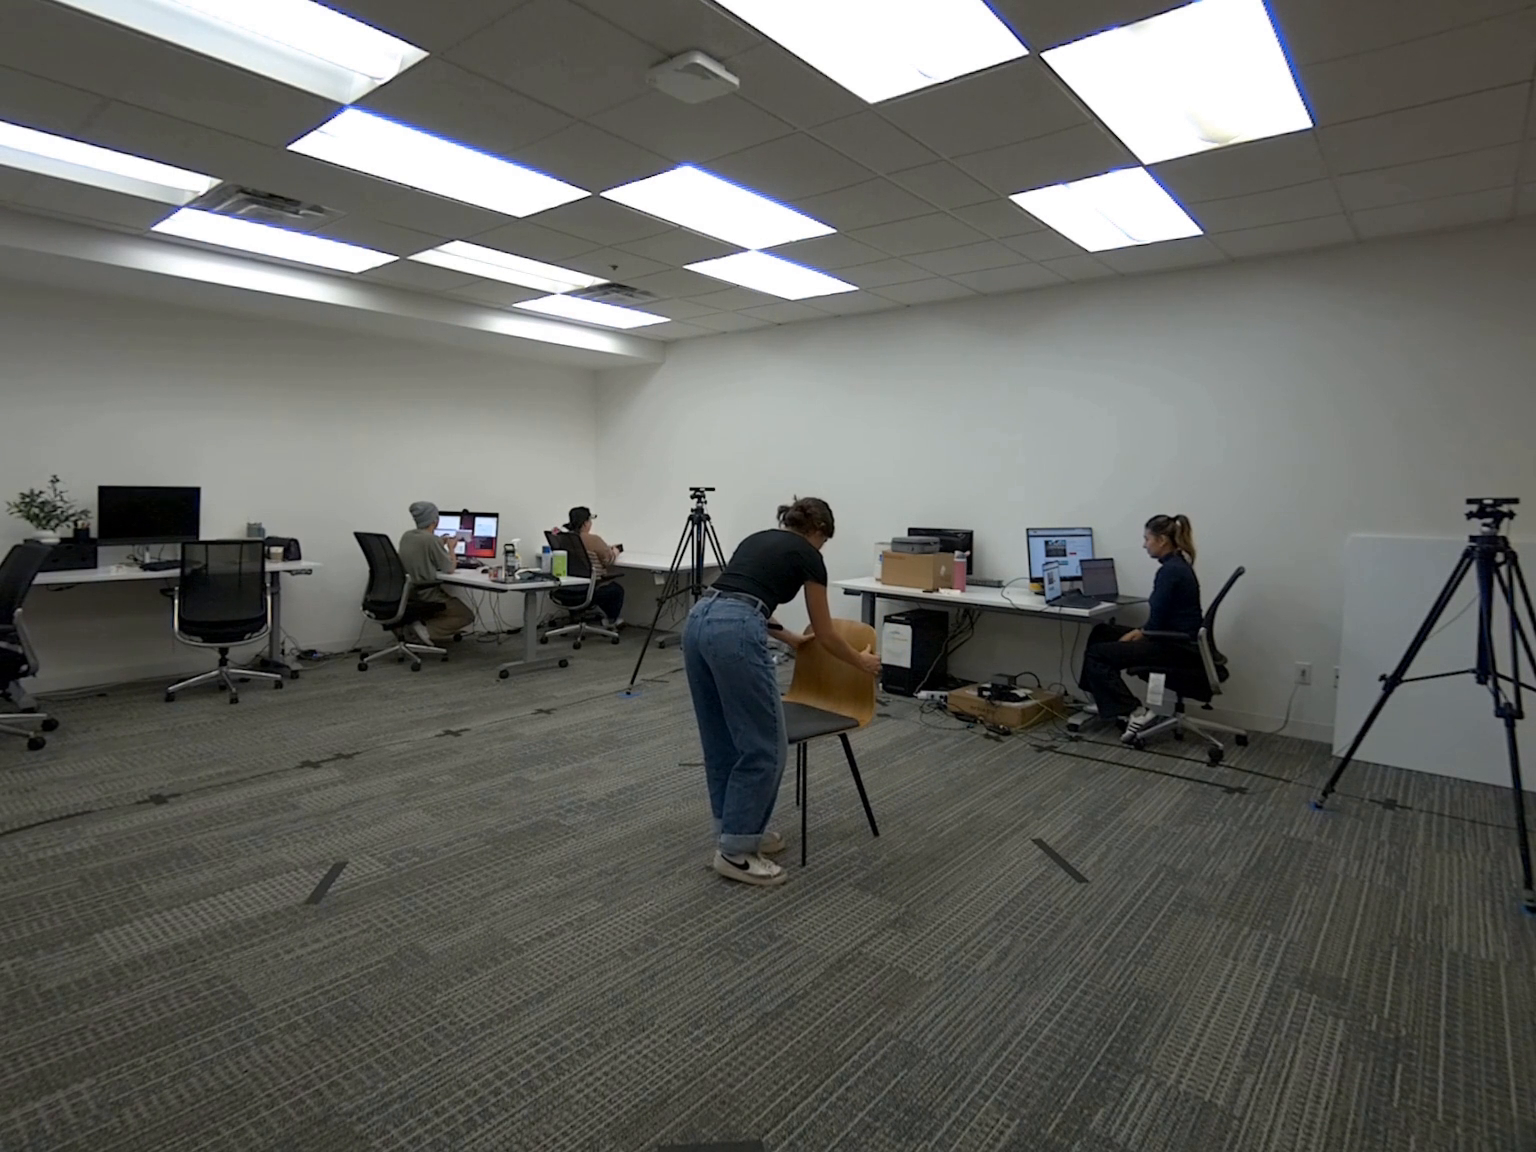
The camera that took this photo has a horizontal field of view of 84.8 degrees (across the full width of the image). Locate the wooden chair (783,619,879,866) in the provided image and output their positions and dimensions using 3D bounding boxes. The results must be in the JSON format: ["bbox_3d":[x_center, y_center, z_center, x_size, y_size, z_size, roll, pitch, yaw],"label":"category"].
[{"bbox_3d":[0.131,0.616,3.423,0.506,0.877,0.494,3,1,-44],"label":"wooden chair"}]
